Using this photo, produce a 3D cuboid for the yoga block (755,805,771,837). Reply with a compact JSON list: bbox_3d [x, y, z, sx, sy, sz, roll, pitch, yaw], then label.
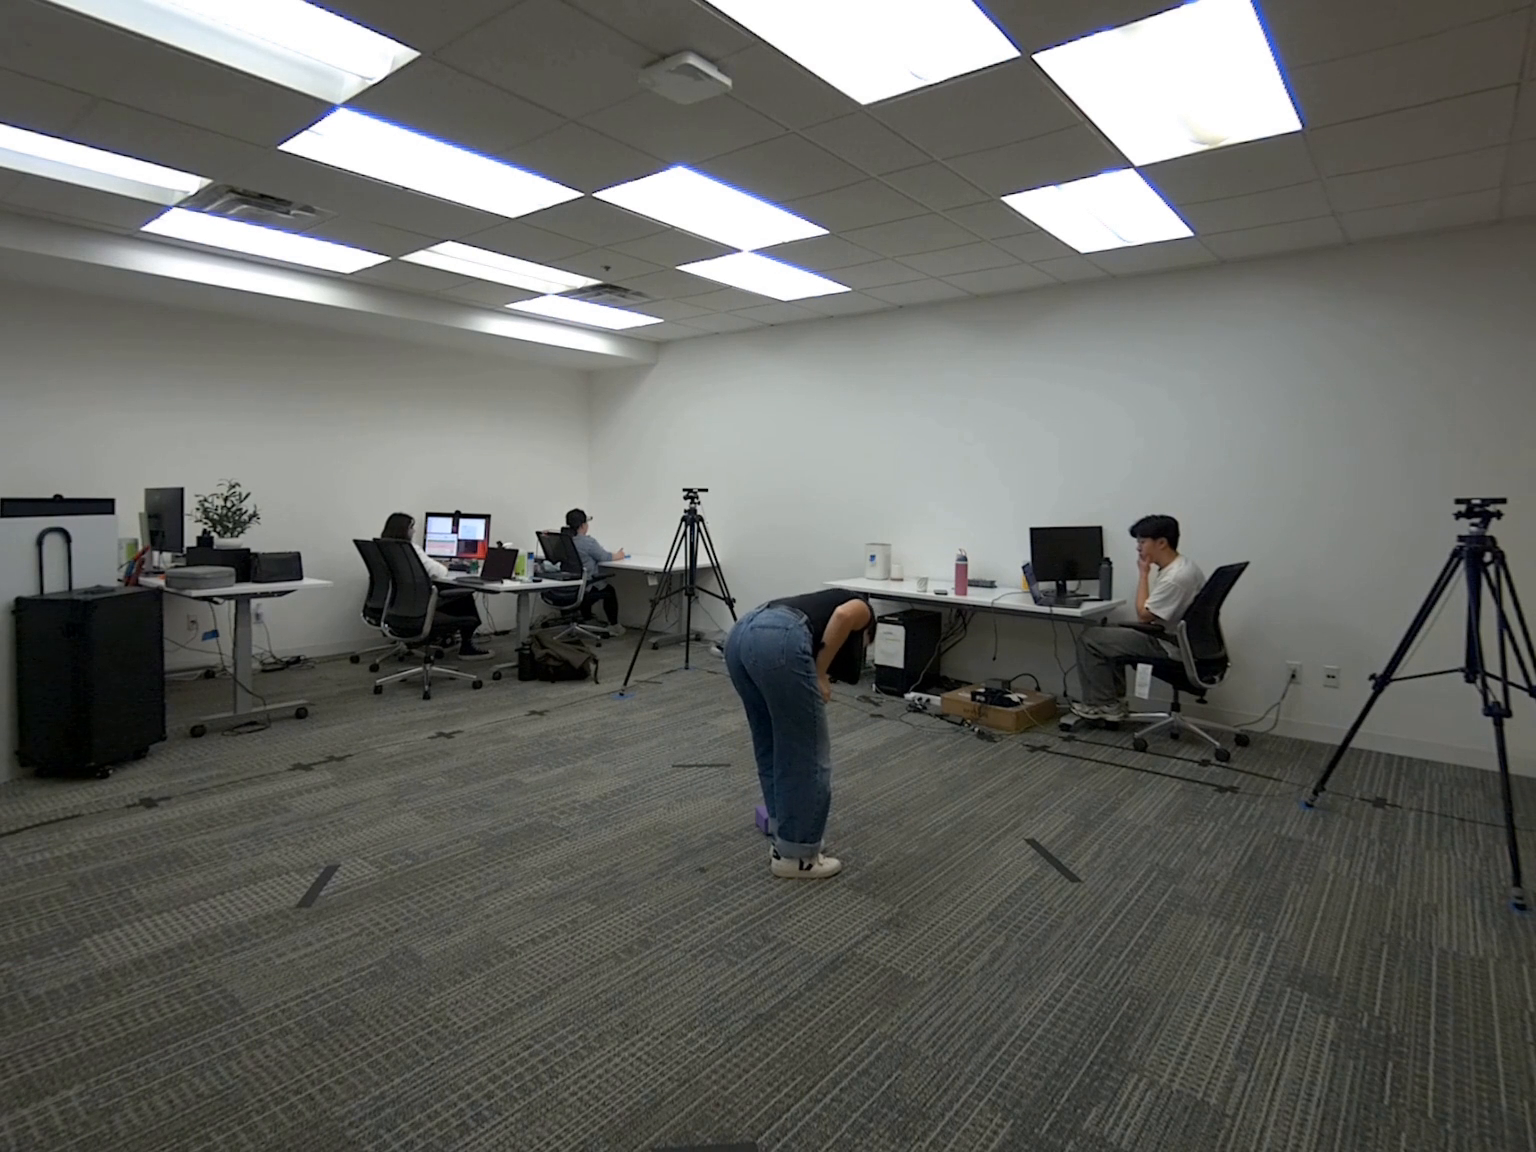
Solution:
[{"bbox_3d":[0.090,0.979,3.506,0.226,0.076,0.152,-2,5,-14],"label":"yoga block"}]
